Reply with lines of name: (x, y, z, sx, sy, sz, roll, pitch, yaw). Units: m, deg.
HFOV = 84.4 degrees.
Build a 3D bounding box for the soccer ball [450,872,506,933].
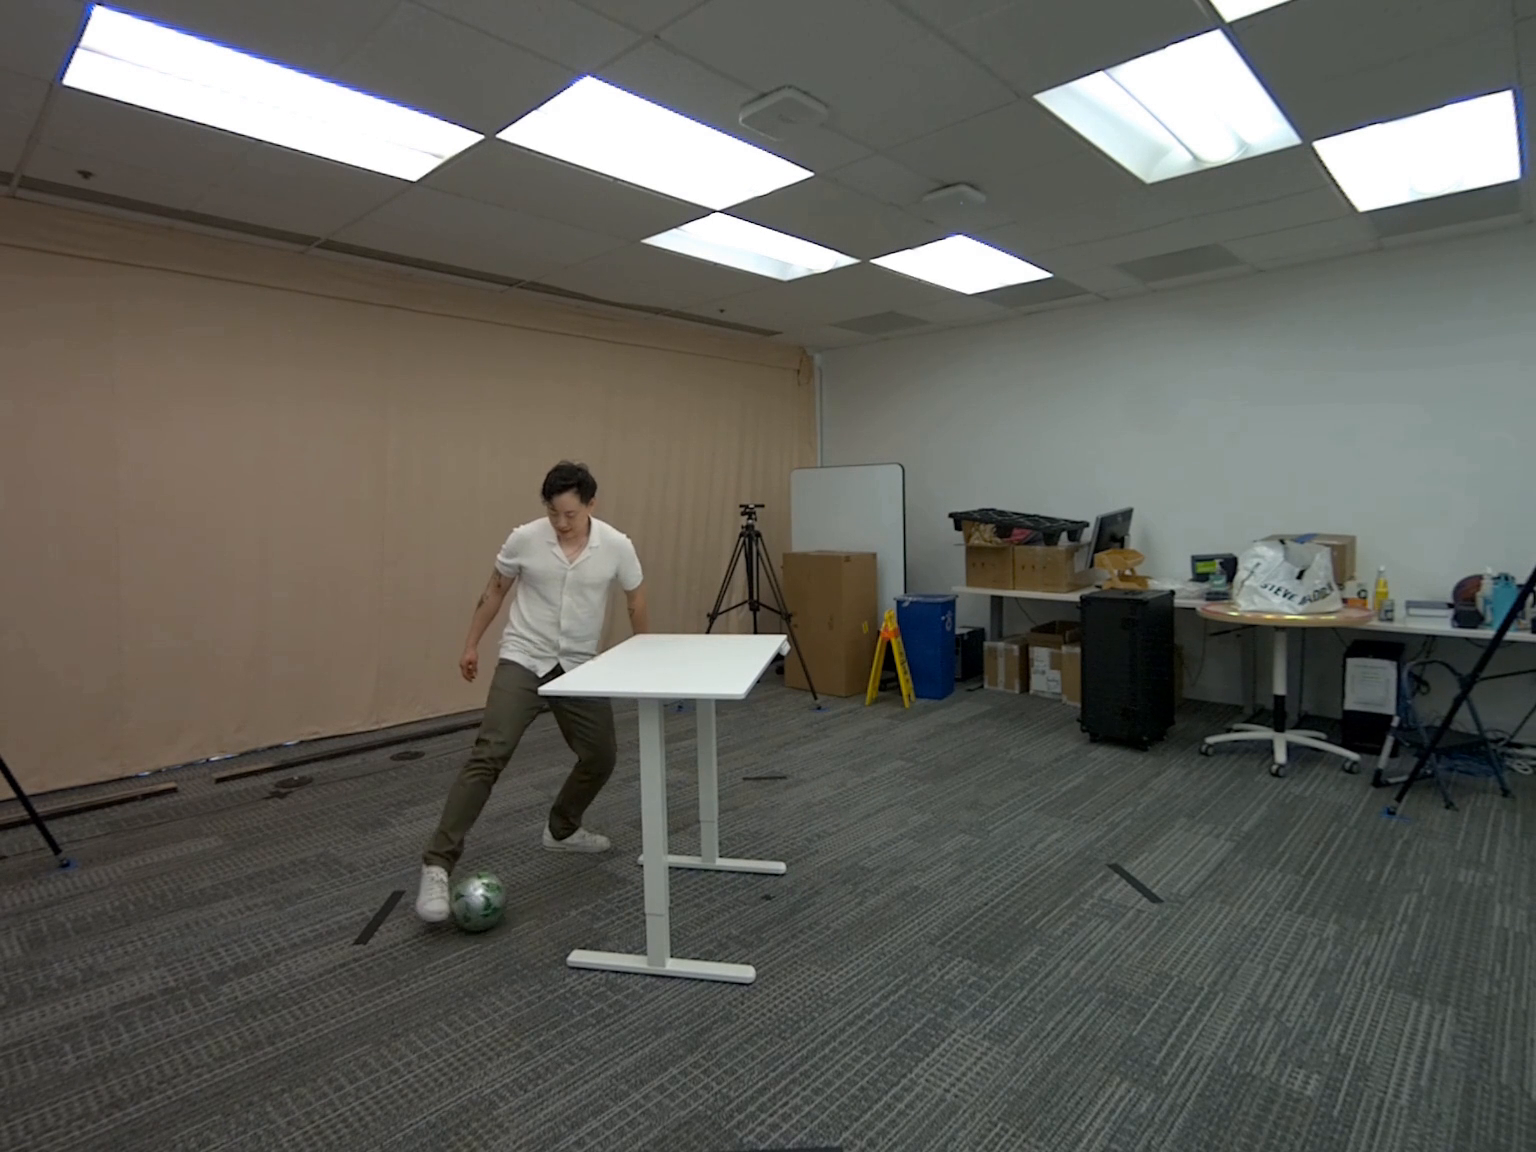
soccer ball: (-0.916, 1.077, 2.821, 0.187, 0.187, 0.188, -1, 4, -2)
